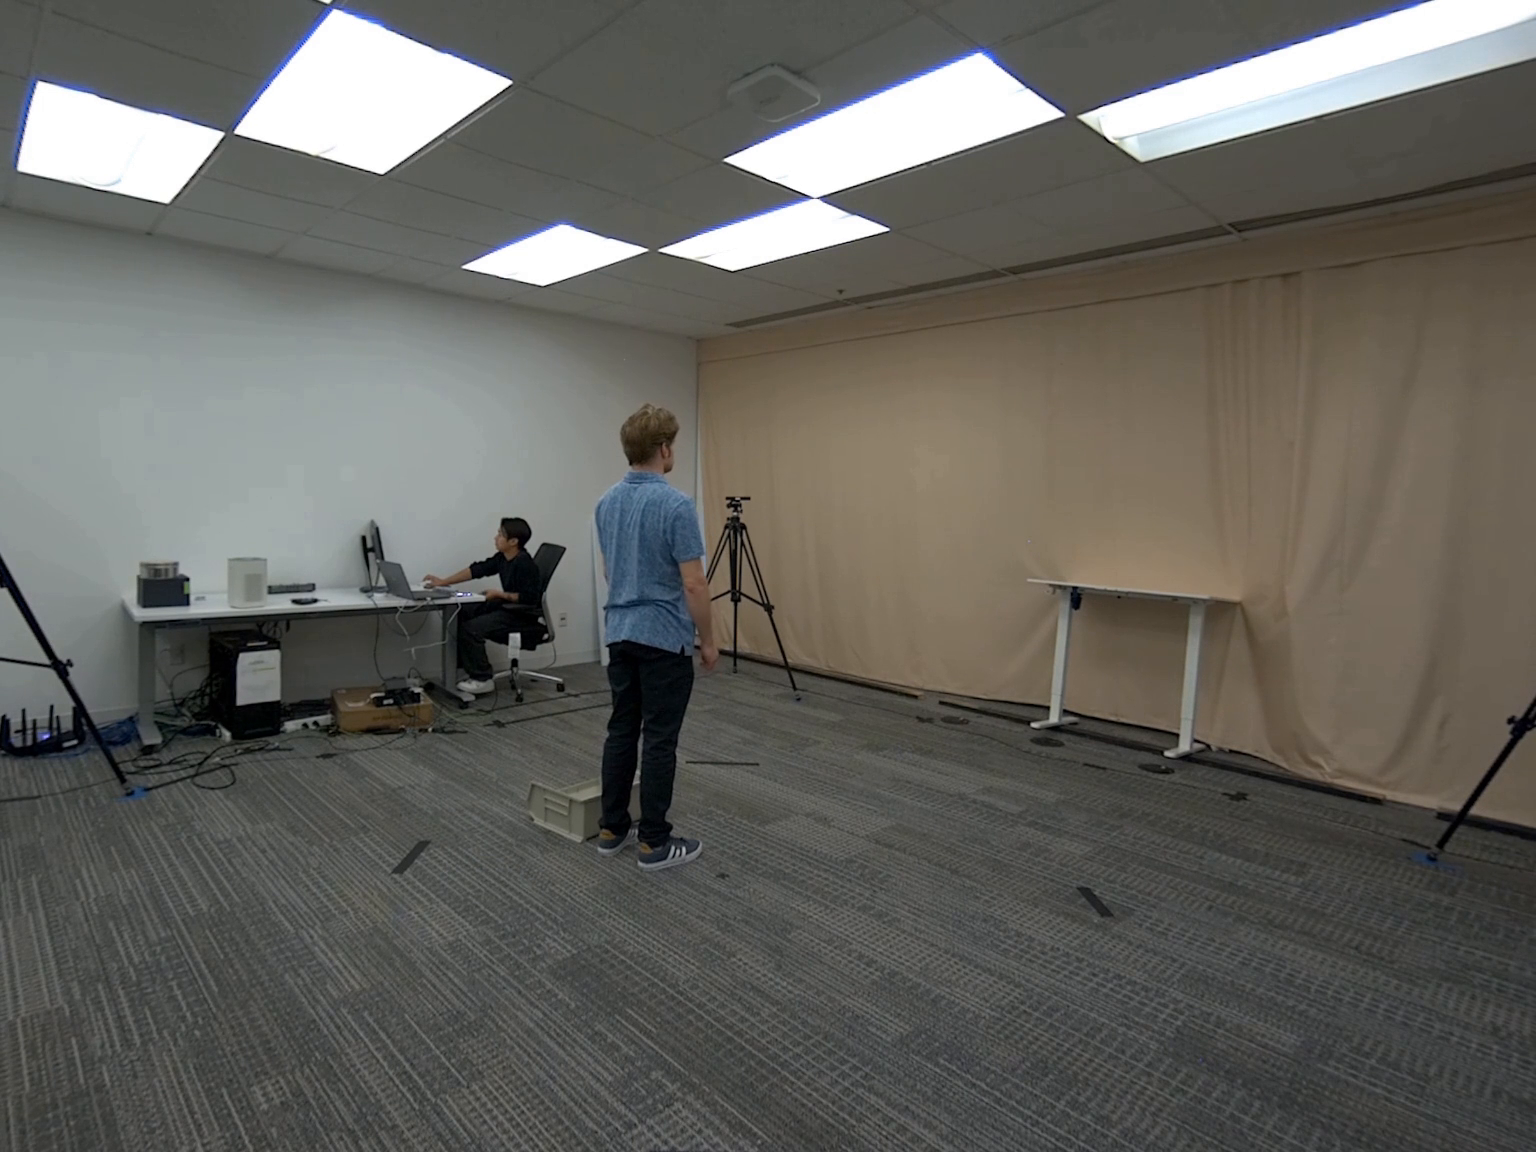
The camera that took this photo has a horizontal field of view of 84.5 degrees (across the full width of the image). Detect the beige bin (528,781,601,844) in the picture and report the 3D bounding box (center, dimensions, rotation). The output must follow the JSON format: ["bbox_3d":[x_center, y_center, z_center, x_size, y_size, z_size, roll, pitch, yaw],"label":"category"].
[{"bbox_3d":[-0.765,0.954,3.632,0.387,0.188,0.413,7,7,40],"label":"beige bin"}]
